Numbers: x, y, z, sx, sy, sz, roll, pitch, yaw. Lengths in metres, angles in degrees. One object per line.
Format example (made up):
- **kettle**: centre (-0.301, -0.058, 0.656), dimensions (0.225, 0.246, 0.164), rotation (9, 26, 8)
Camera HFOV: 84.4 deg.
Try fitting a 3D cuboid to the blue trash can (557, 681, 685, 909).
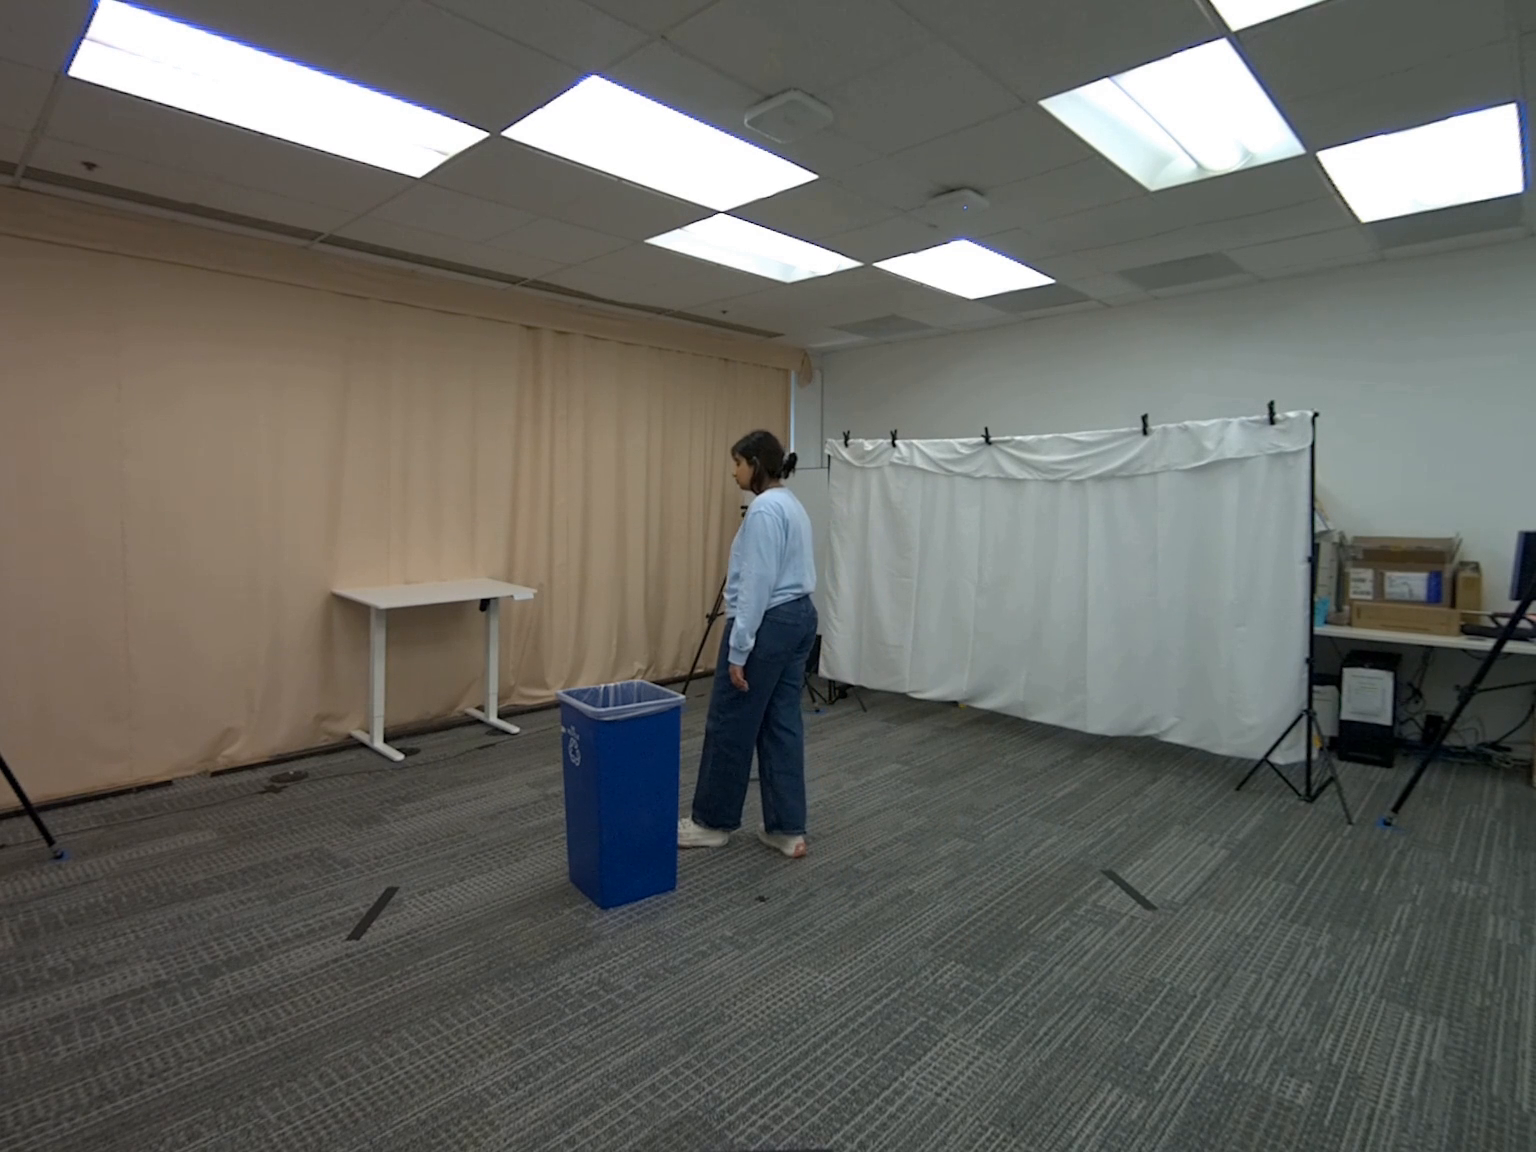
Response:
- **blue trash can**: centre (-0.535, 0.783, 3.083), dimensions (0.367, 0.712, 0.386), rotation (-3, 4, -35)
